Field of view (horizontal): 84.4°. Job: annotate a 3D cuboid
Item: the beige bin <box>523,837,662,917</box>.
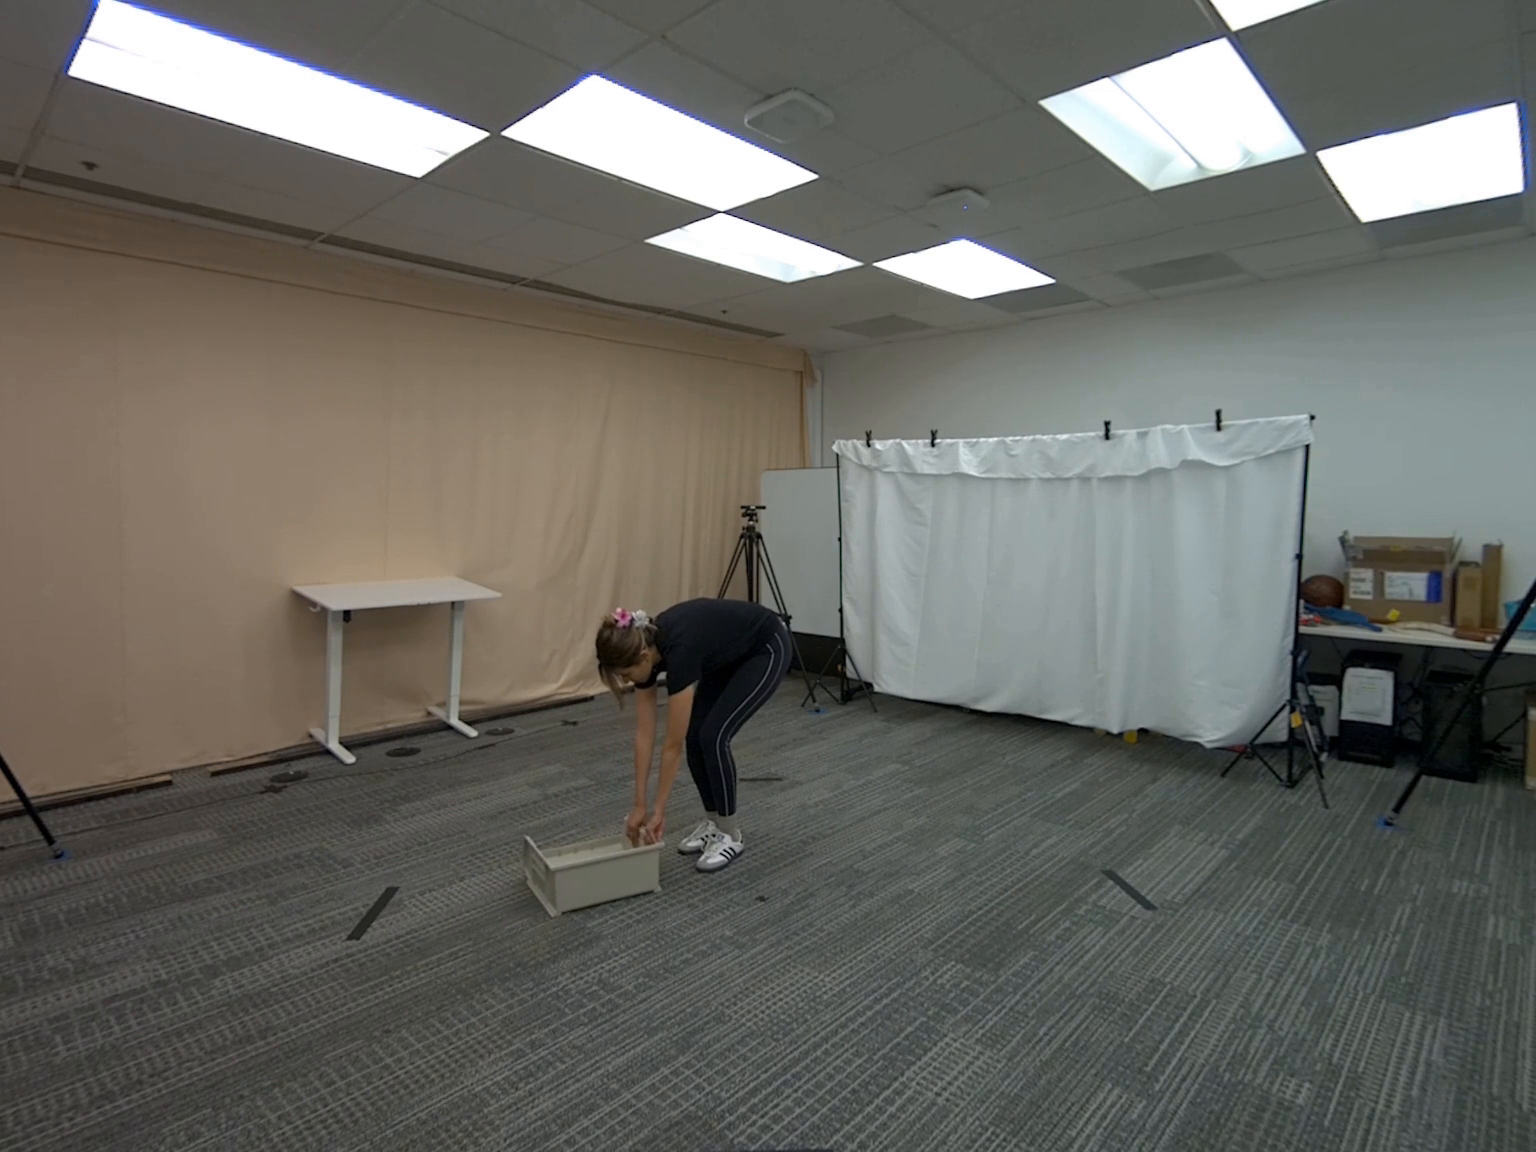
[{"bbox_3d":[-0.652,1.046,3.099,0.411,0.188,0.389,-2,5,-30],"label":"beige bin"}]
